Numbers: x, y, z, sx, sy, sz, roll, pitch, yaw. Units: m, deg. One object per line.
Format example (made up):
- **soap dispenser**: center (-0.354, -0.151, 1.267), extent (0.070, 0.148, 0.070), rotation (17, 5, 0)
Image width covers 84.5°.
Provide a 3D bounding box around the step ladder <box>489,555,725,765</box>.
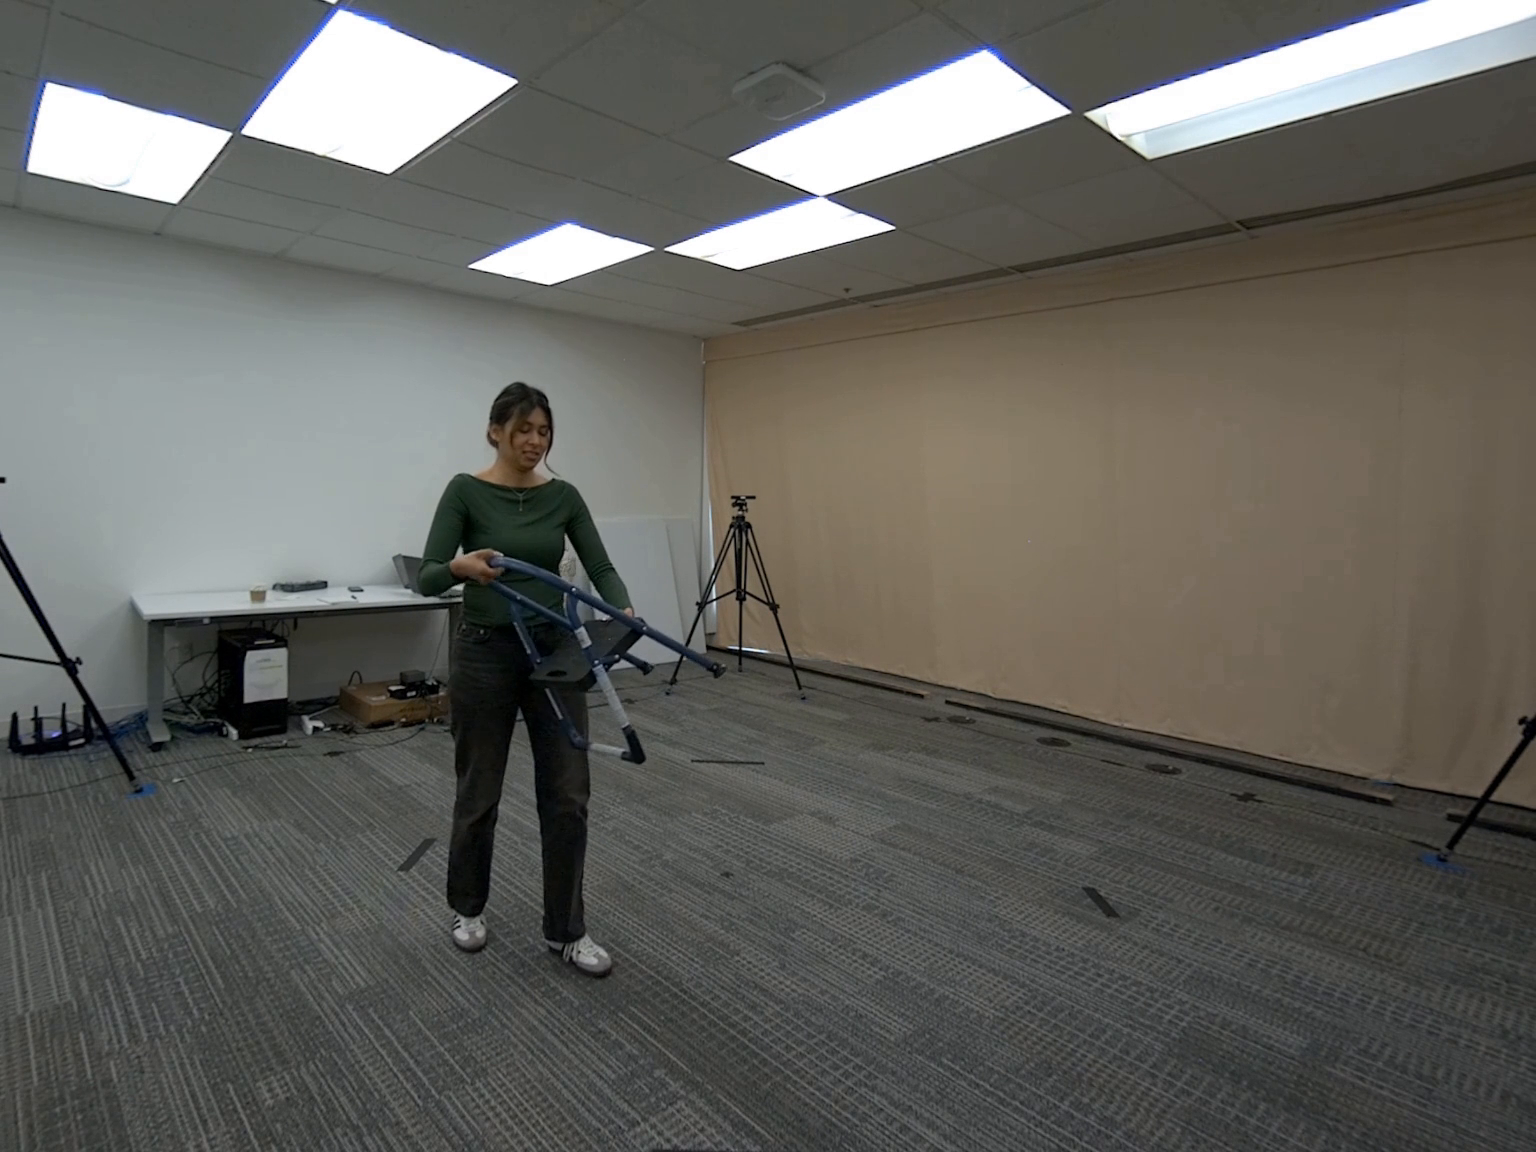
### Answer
- **step ladder**: center (-0.502, 0.144, 2.235), extent (0.438, 0.595, 0.349), rotation (-11, 32, 54)
